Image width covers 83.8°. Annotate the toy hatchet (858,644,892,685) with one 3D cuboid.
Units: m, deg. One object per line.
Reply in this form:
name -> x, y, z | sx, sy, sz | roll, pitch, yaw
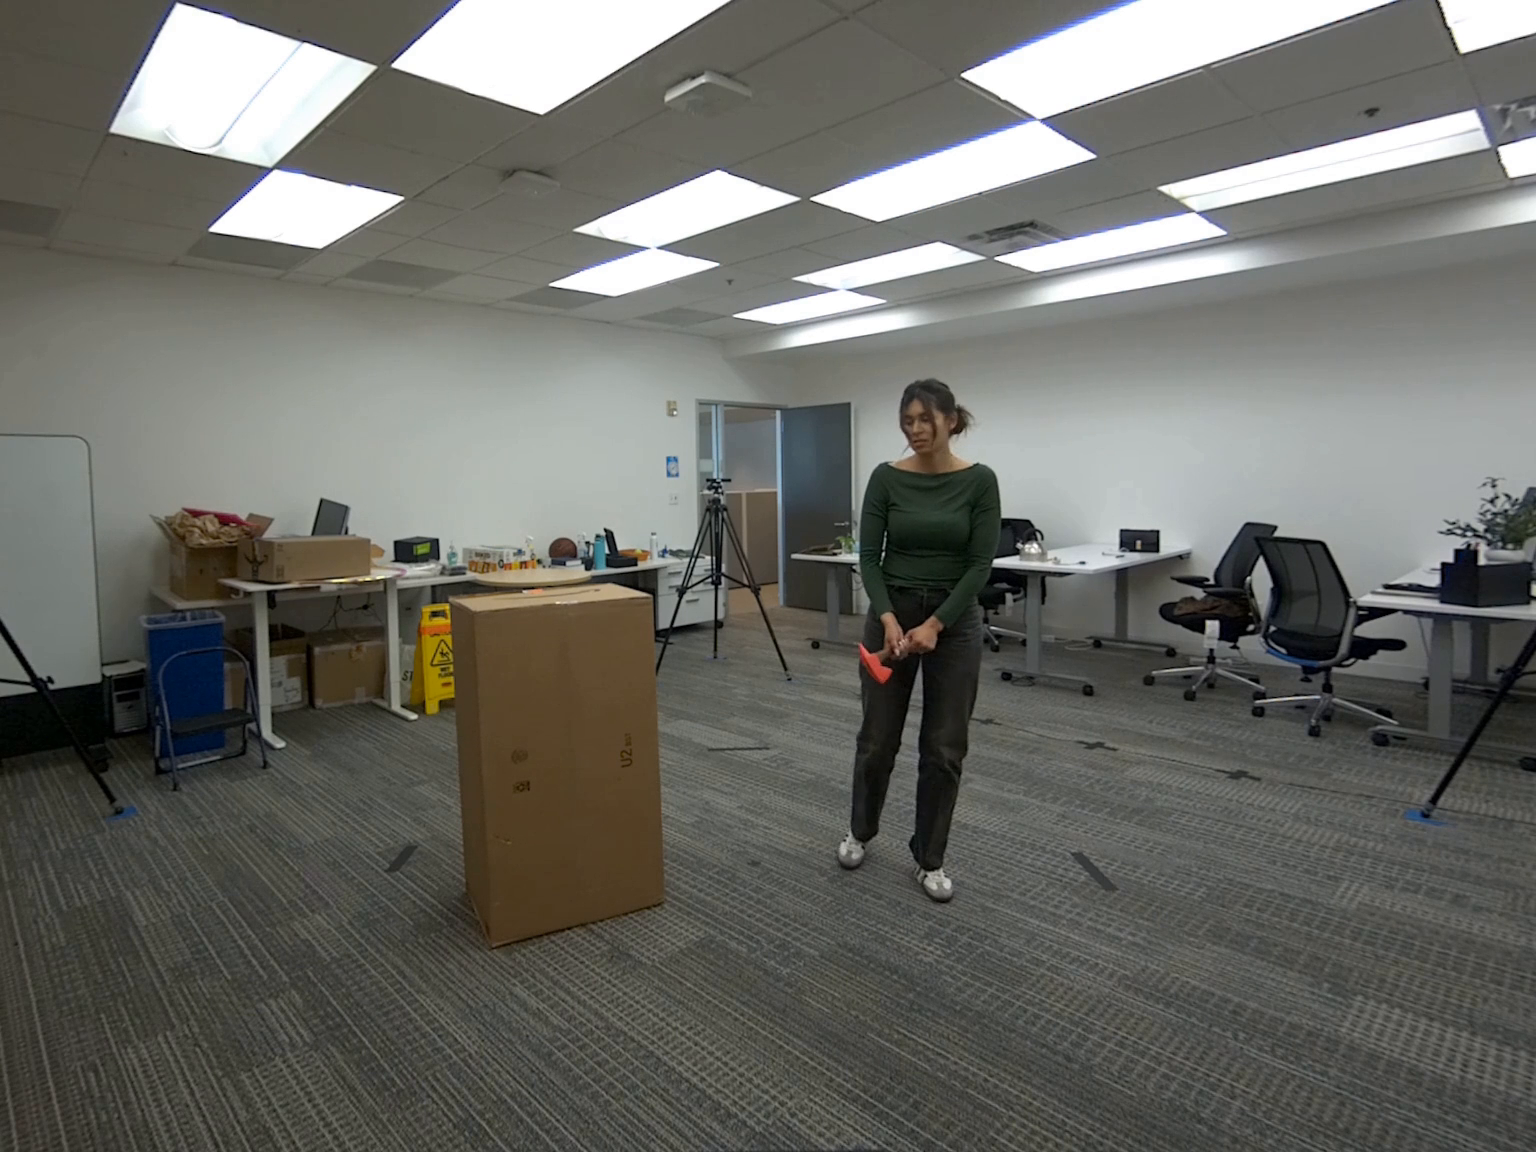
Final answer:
toy hatchet -> 0.407, 0.264, 2.678 | 0.264, 0.134, 0.029 | -3, -24, -28
